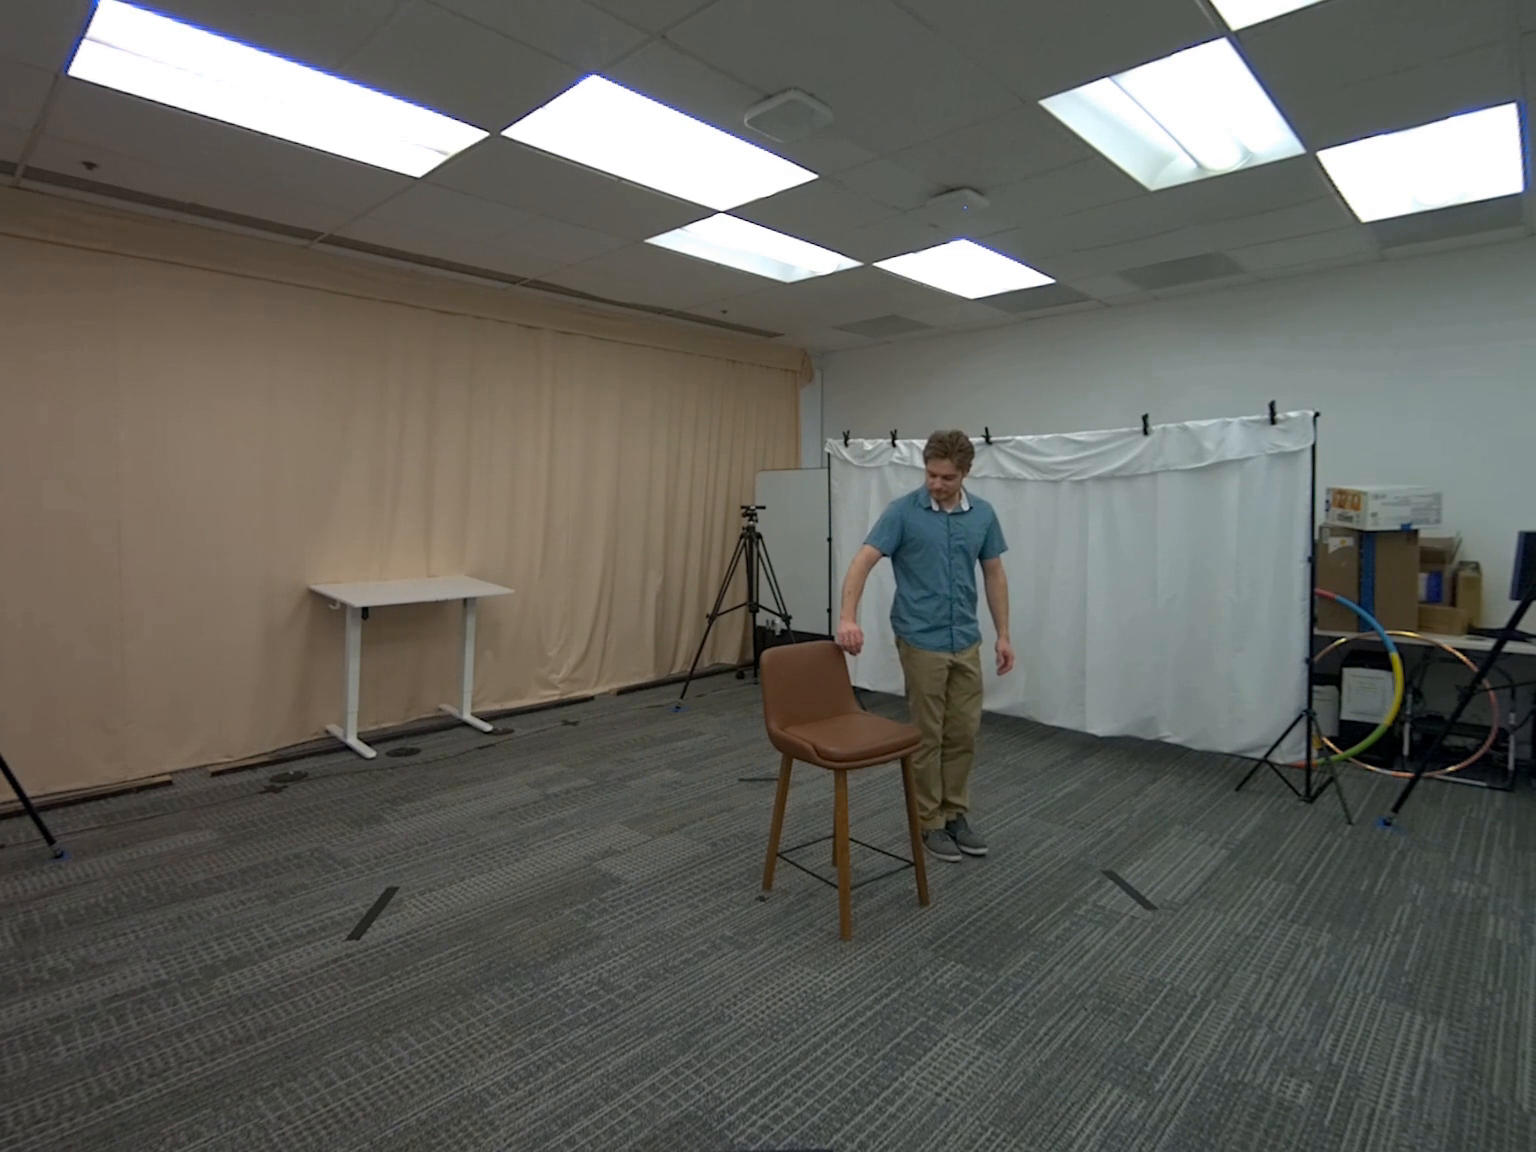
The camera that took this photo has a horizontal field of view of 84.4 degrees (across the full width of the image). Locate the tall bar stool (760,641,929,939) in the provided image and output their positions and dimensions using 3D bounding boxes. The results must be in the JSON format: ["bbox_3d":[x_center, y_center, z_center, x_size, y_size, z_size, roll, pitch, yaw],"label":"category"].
[{"bbox_3d":[0.260,0.711,2.968,0.443,0.889,0.482,-3,2,-38],"label":"tall bar stool"}]
